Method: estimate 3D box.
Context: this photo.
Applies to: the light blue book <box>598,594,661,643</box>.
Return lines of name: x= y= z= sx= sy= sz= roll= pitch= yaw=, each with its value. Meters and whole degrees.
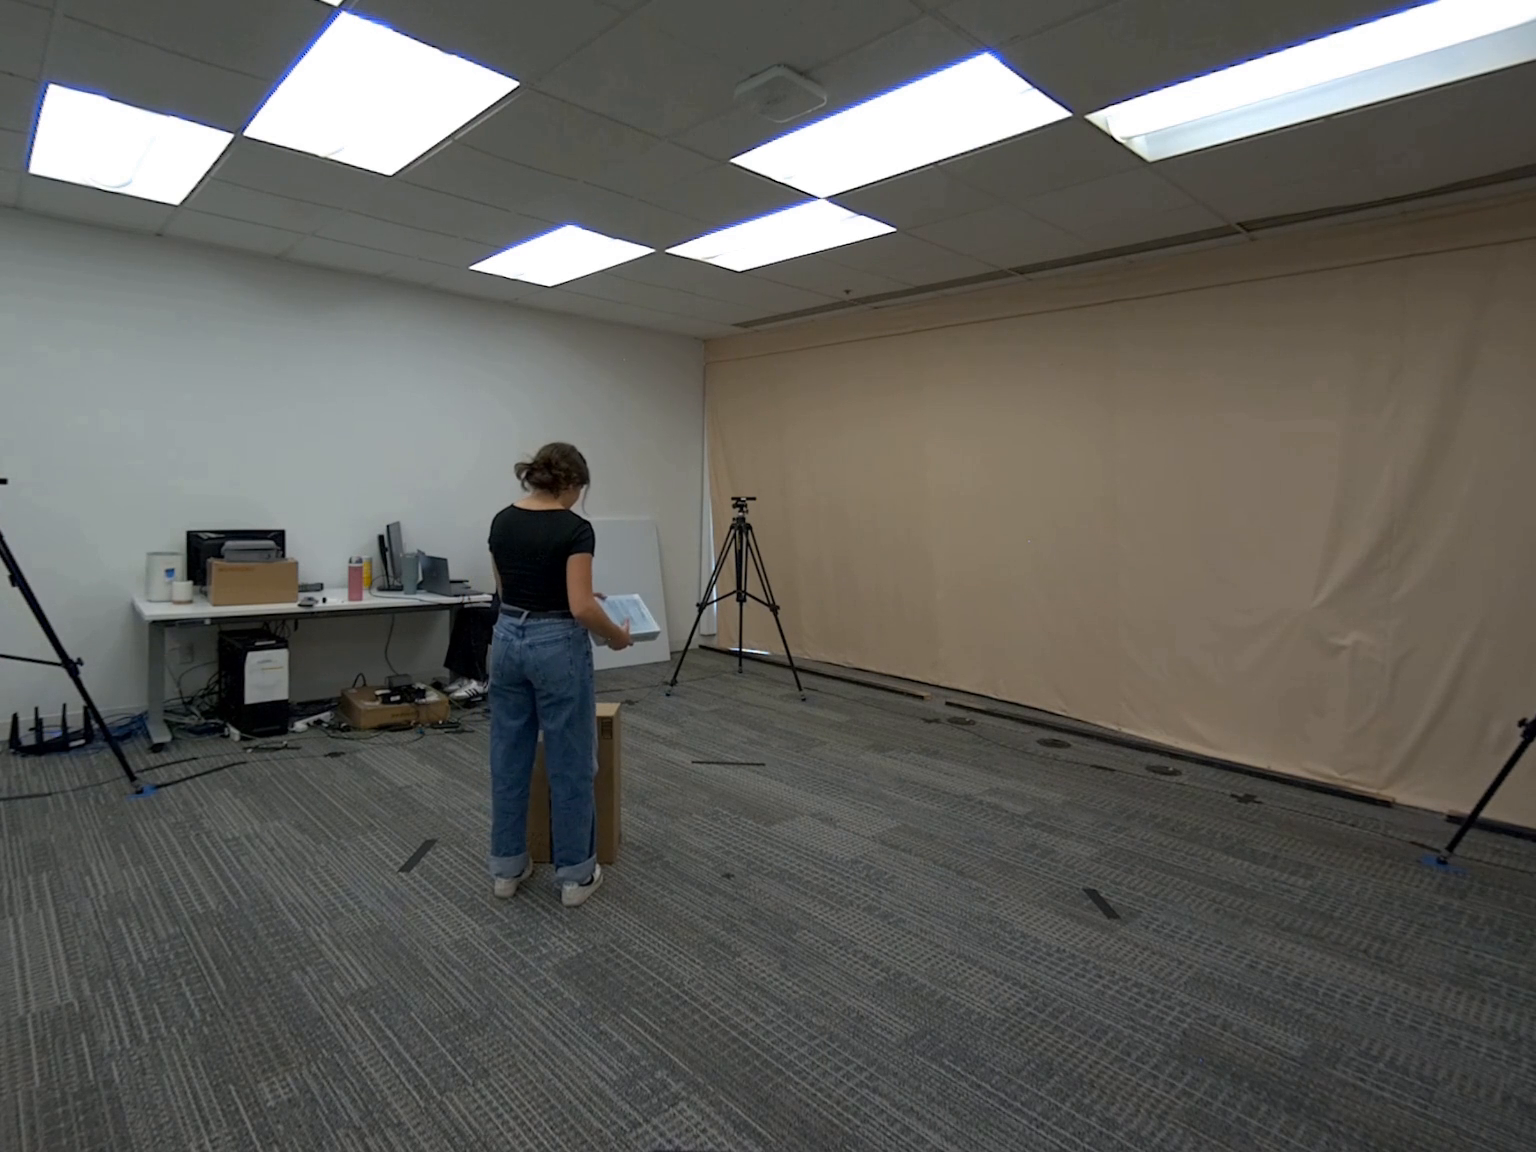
light blue book: x=-0.547 y=0.159 z=3.046 sx=0.255 sy=0.059 sz=0.197 roll=-4 pitch=46 yaw=-46
